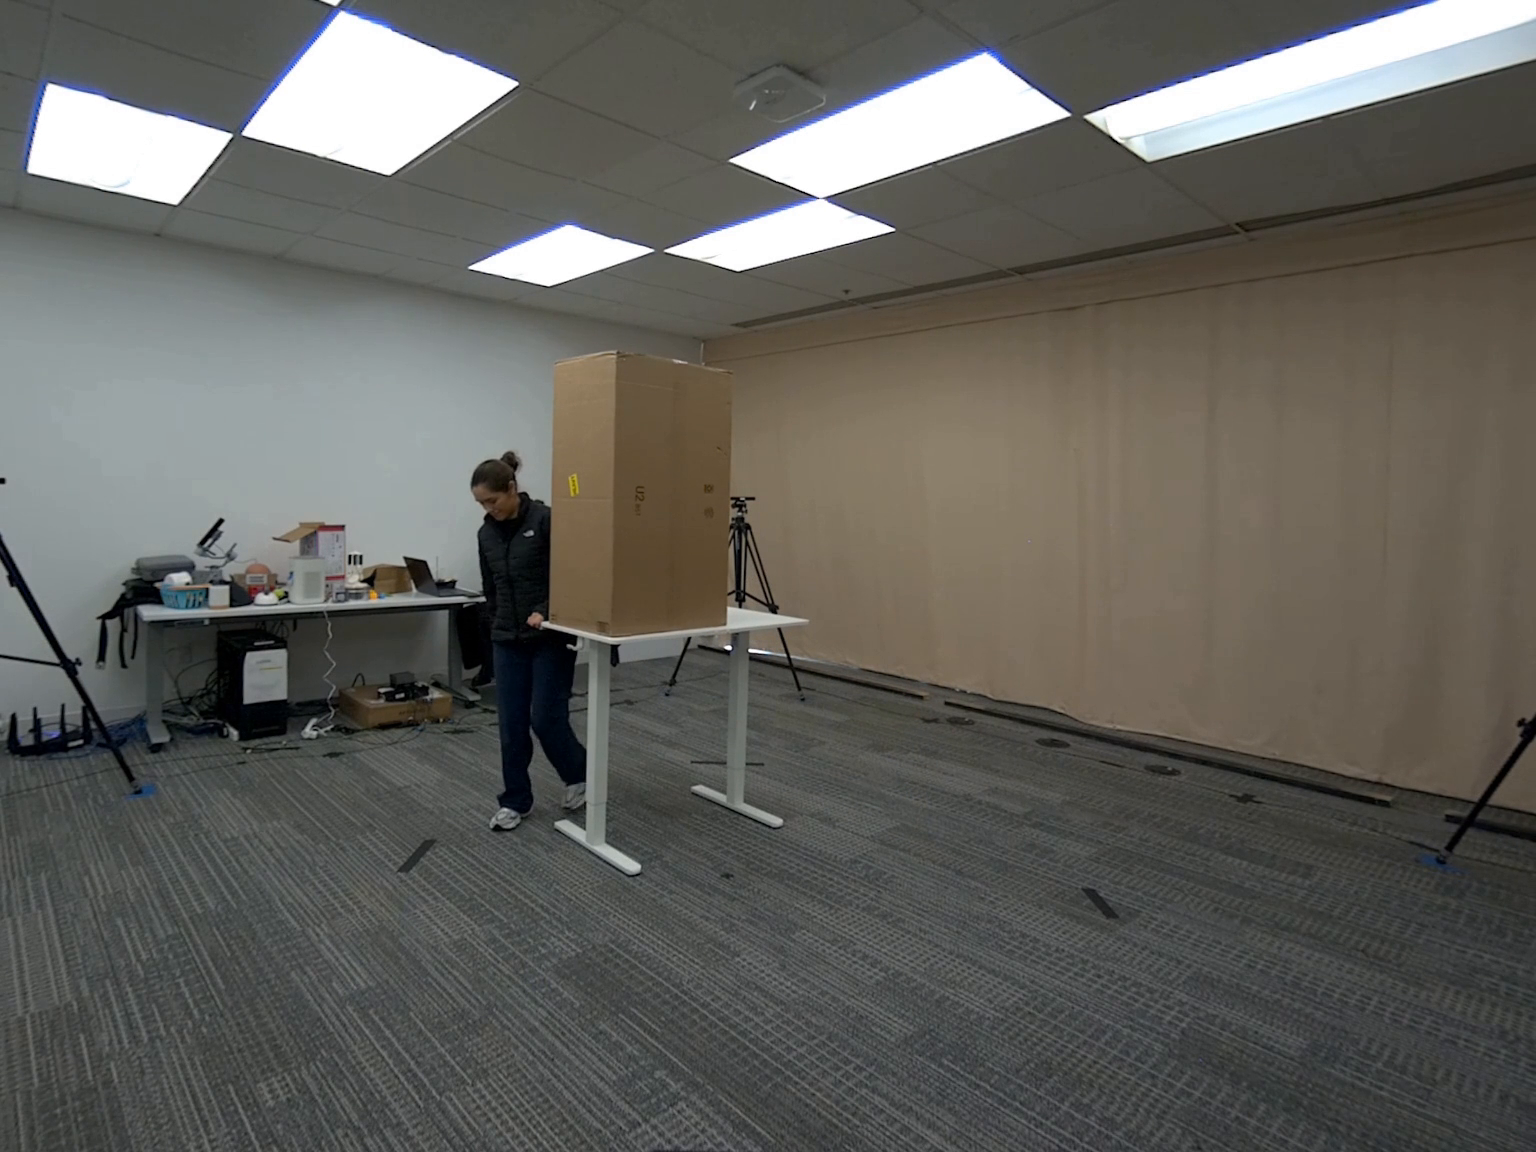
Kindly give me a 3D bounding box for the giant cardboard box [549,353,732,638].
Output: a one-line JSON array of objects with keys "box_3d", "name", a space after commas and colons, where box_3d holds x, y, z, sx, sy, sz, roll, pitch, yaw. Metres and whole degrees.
[{"box_3d": [-0.504, -0.311, 3.321, 0.564, 1.024, 0.437, -2, 4, -45], "name": "giant cardboard box"}]
